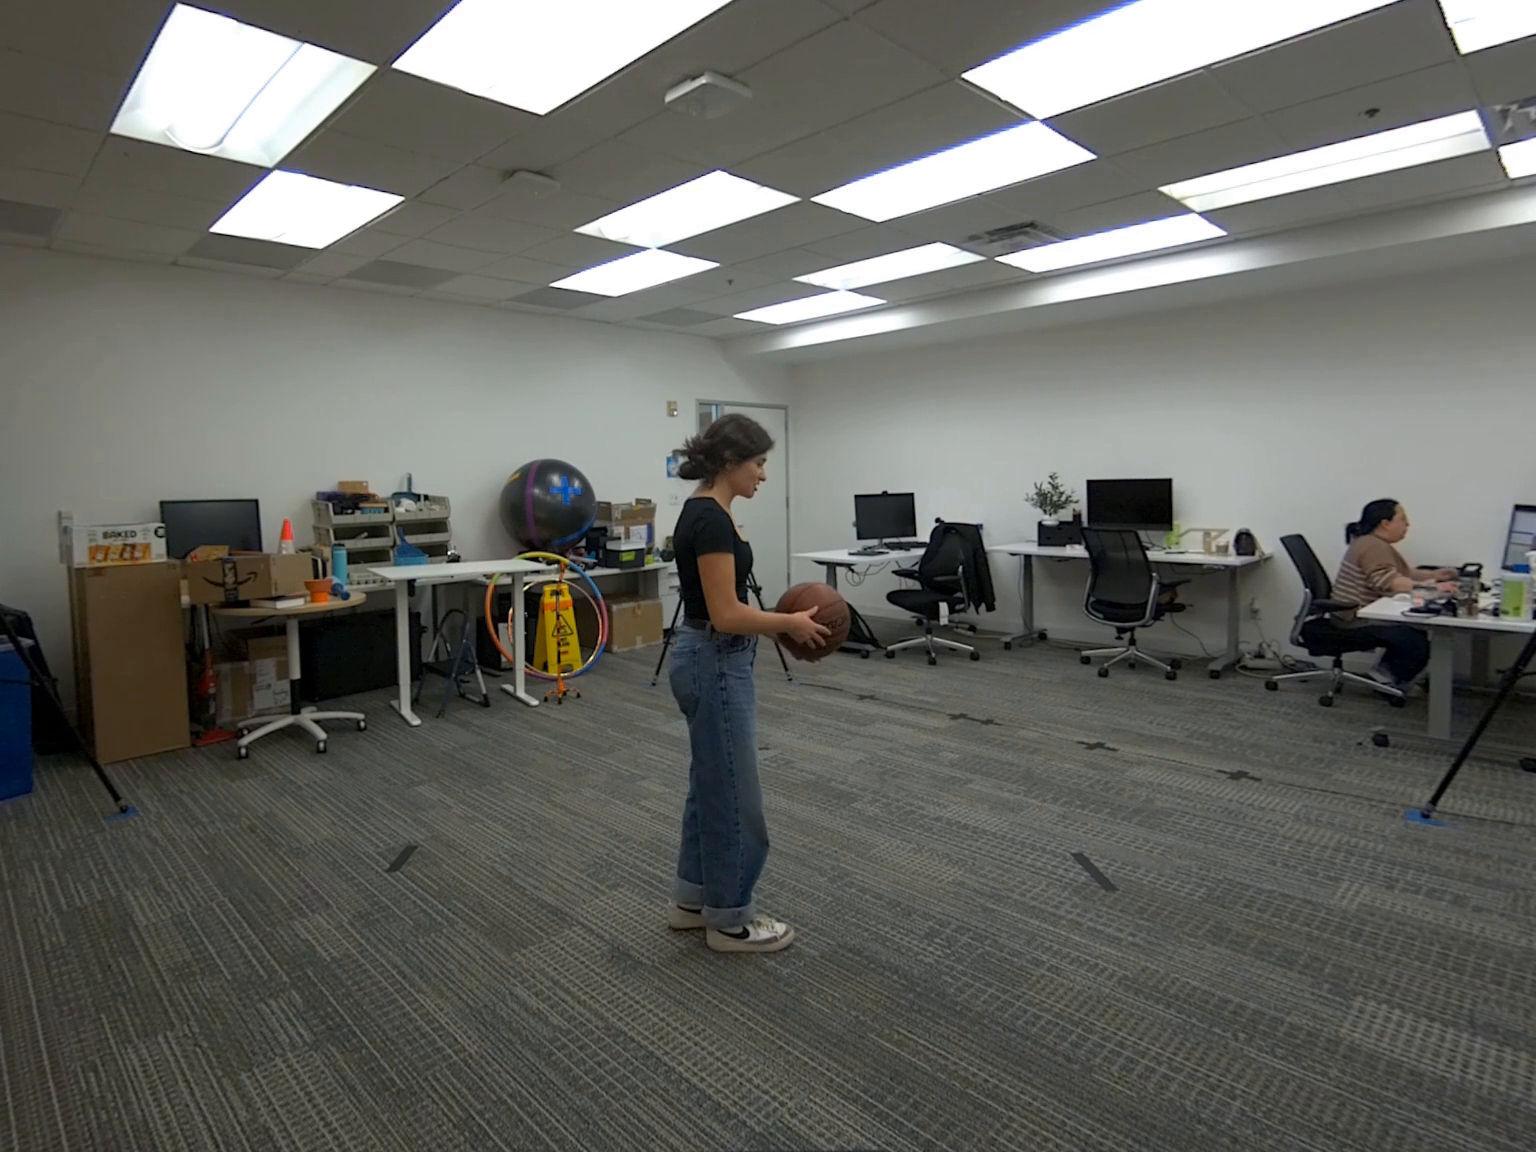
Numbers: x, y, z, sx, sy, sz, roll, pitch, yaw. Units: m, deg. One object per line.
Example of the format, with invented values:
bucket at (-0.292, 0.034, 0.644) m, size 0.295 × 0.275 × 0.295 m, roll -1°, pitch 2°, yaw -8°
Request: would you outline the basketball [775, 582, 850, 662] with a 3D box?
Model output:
basketball at (0.135, 0.138, 2.668) m, size 0.236 × 0.235 × 0.237 m, roll -1°, pitch 5°, yaw -2°
